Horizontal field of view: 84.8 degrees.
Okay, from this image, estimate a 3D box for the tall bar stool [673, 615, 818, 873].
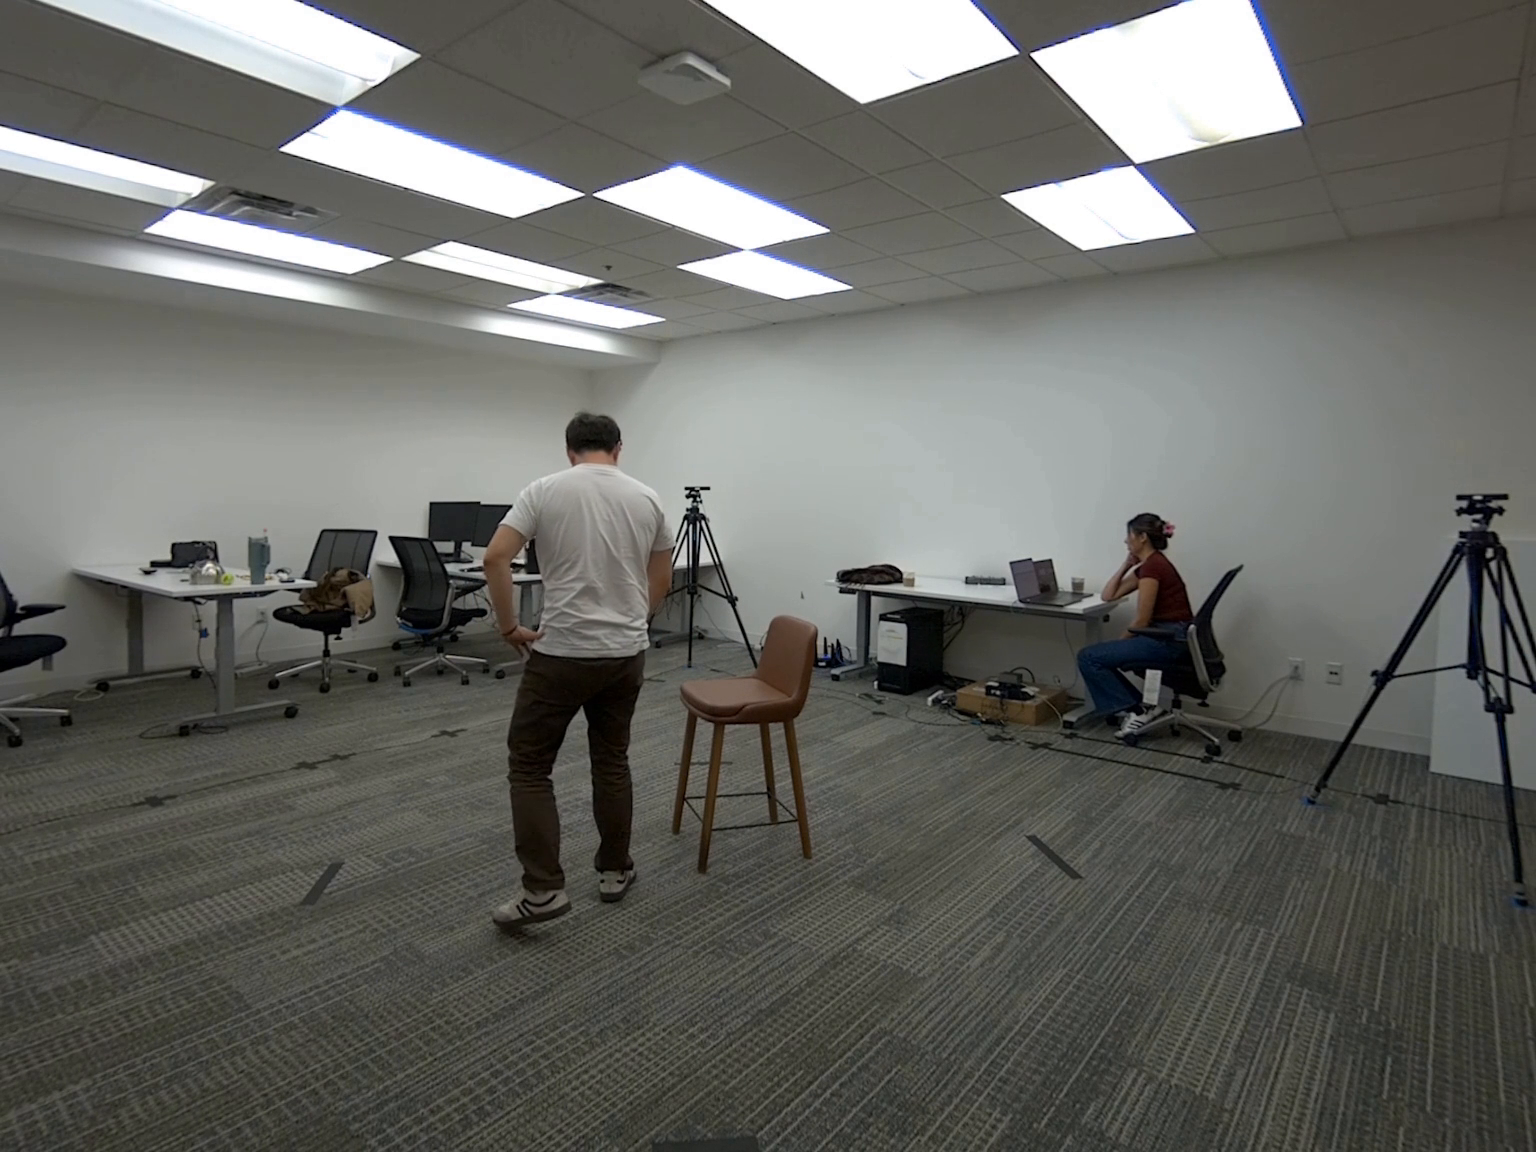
[{"bbox_3d":[-0.106,0.612,3.300,0.458,0.888,0.467,1,3,-20],"label":"tall bar stool"}]
